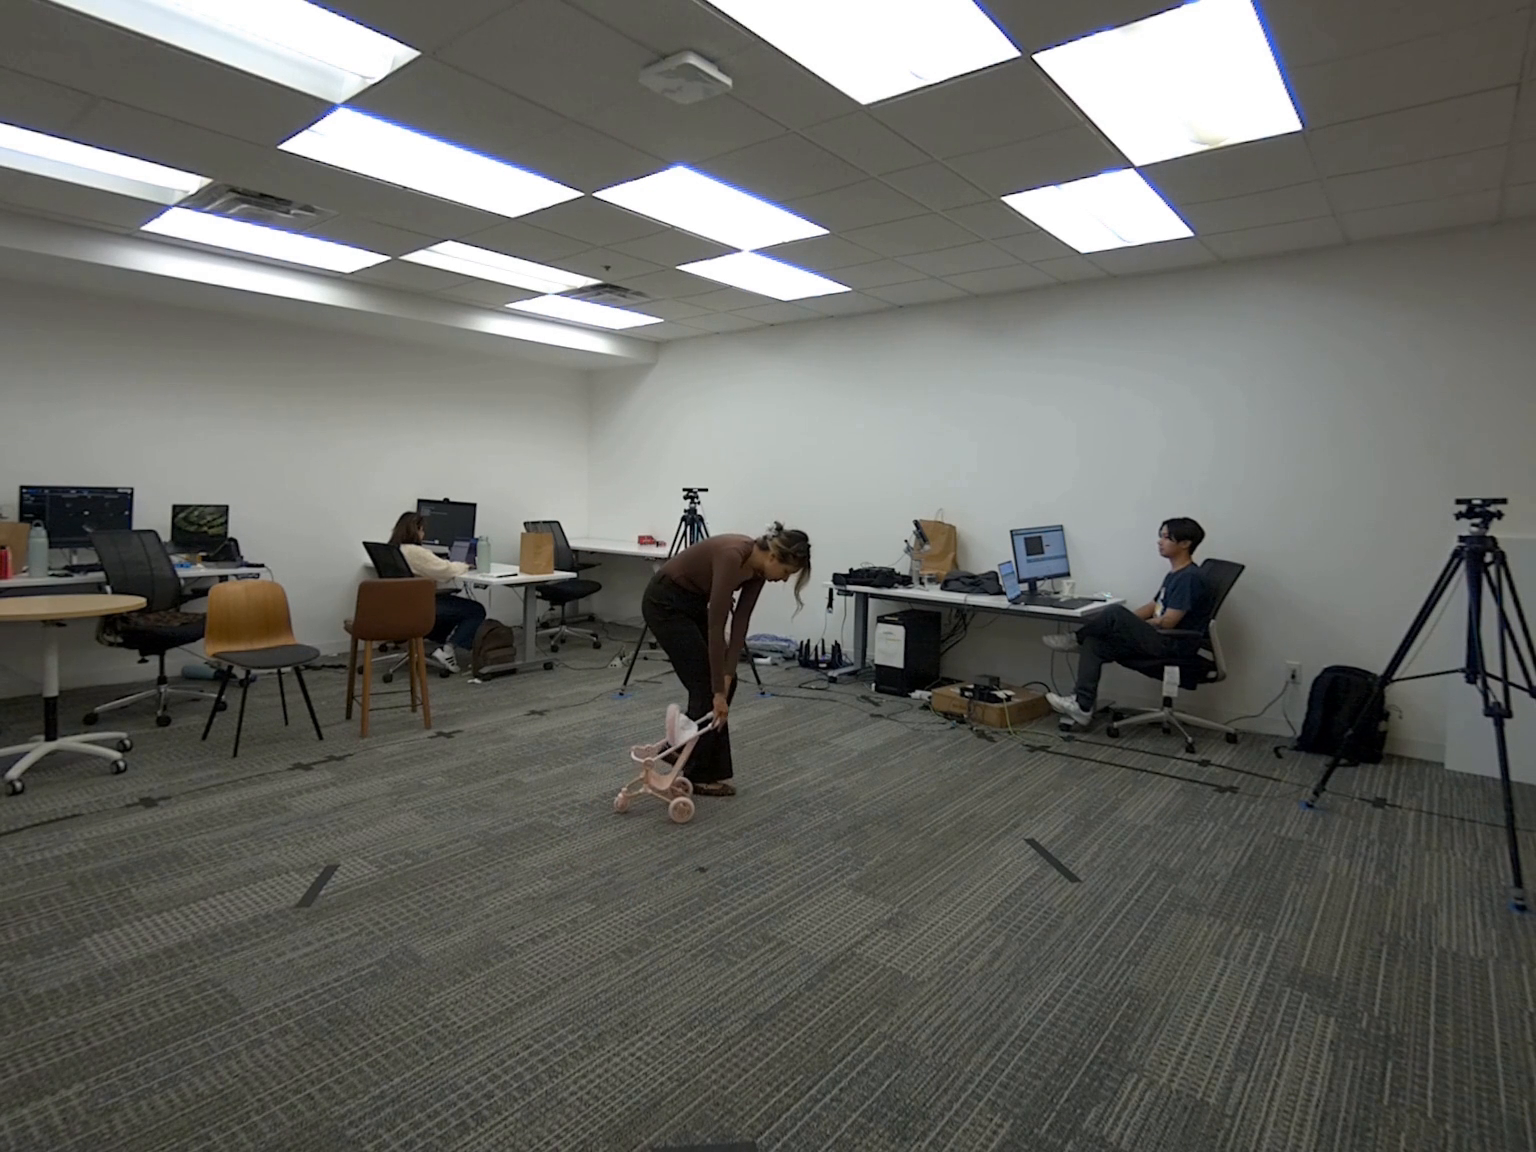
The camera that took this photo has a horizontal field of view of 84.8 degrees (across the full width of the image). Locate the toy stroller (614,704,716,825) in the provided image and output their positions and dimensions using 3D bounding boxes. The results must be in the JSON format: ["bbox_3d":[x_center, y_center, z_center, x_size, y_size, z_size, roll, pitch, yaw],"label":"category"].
[{"bbox_3d":[-0.443,0.786,3.650,0.341,0.534,0.282,19,2,-2],"label":"toy stroller"}]
